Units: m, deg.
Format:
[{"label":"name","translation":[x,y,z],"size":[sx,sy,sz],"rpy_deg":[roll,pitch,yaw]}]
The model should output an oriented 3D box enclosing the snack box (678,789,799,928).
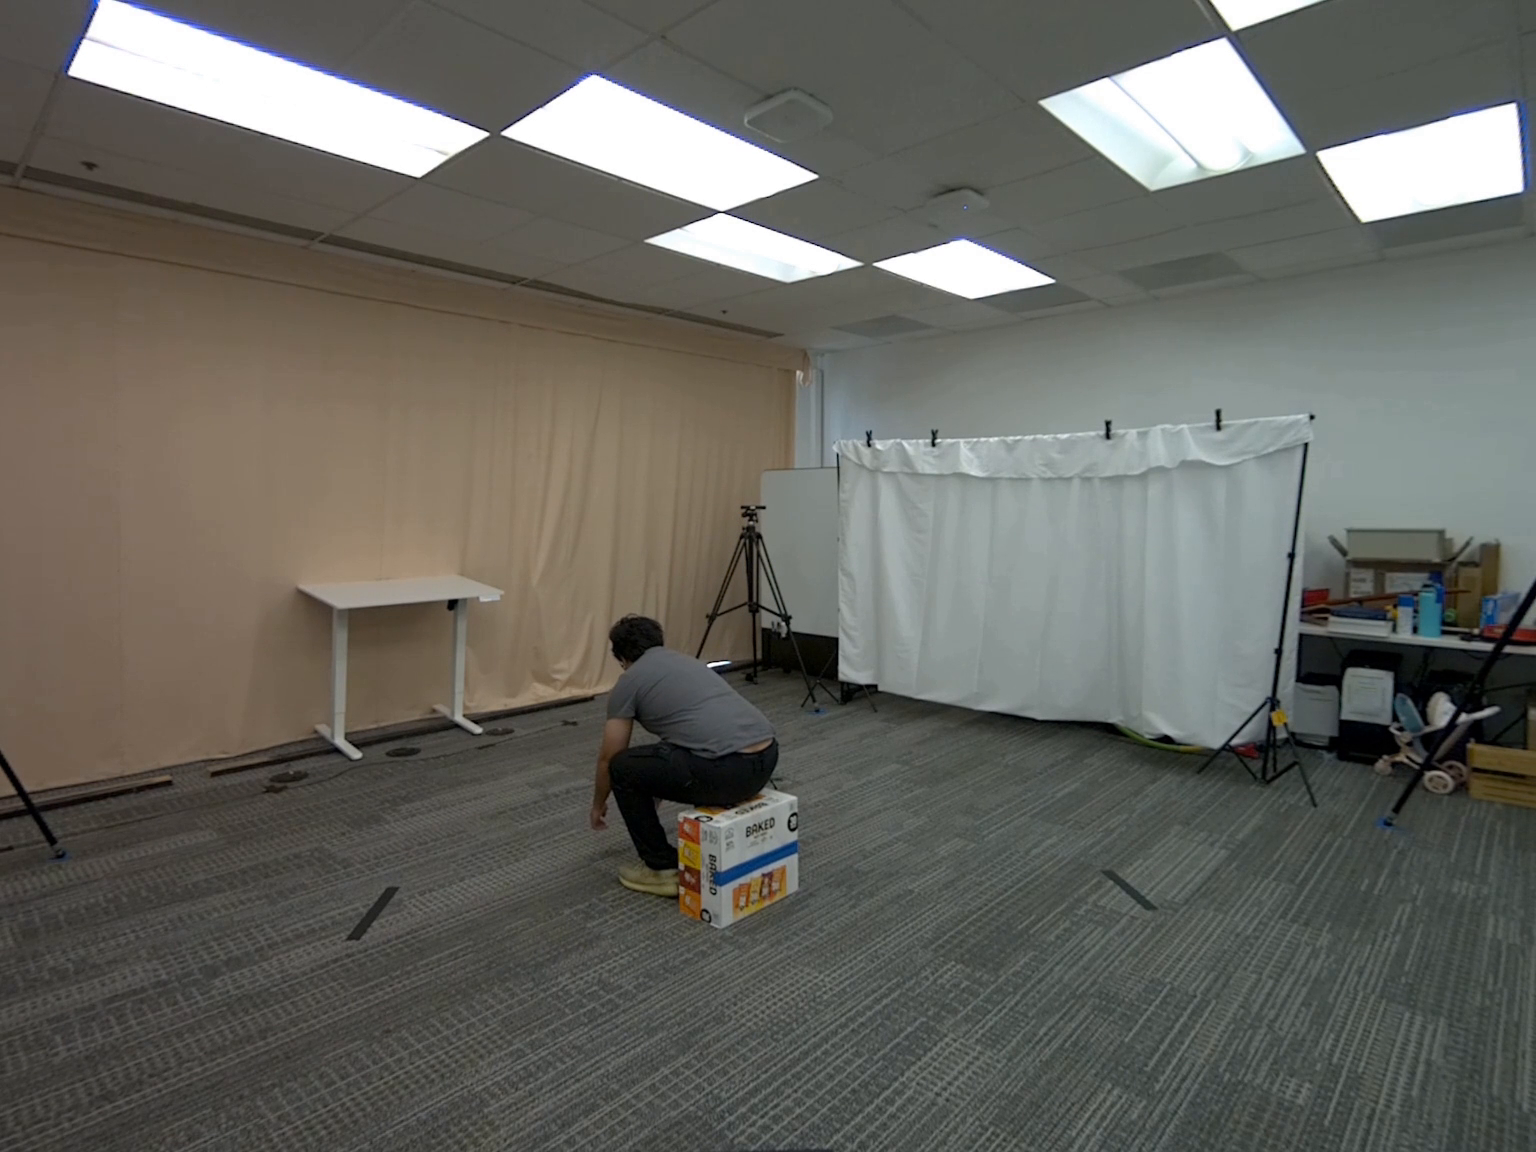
[{"label":"snack box","translation":[-0.094,0.975,2.966],"size":[0.212,0.340,0.393],"rpy_deg":[2,4,42]}]
